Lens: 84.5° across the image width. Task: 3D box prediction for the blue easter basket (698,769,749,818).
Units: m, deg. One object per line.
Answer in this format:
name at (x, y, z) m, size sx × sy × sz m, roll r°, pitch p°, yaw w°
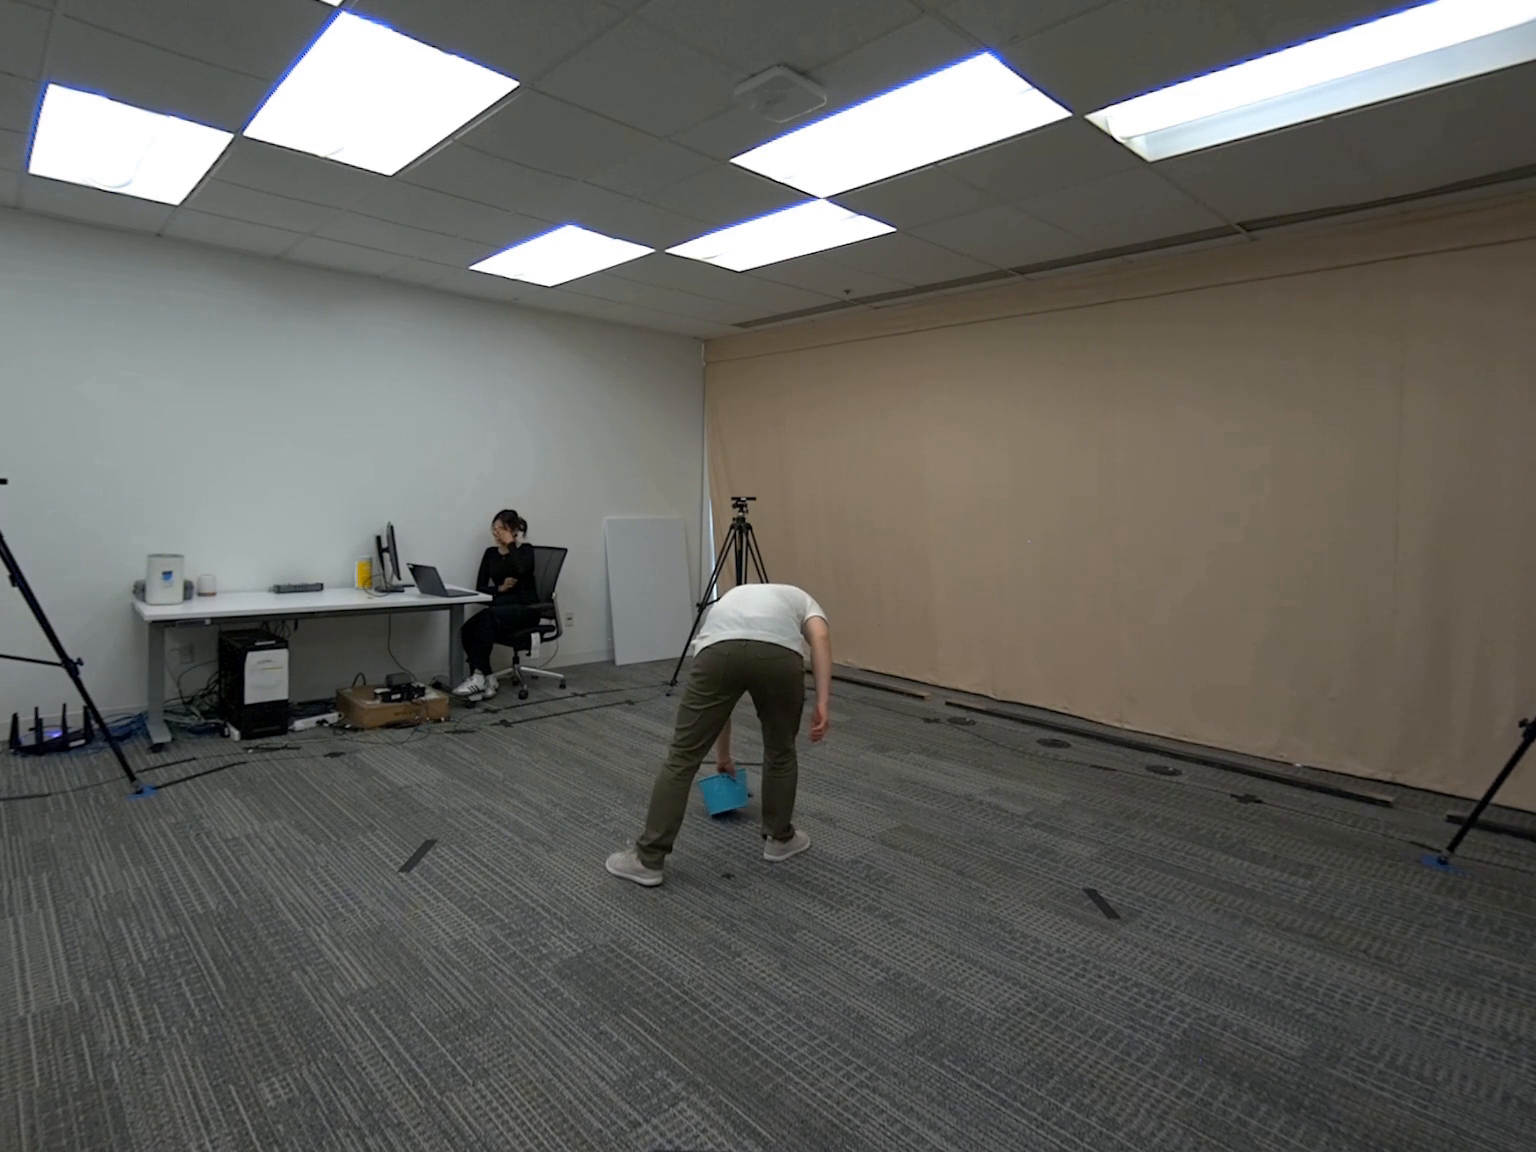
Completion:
blue easter basket at (-0.212, 0.950, 3.704) m, size 0.243 × 0.158 × 0.241 m, roll -15°, pitch -12°, yaw -5°
